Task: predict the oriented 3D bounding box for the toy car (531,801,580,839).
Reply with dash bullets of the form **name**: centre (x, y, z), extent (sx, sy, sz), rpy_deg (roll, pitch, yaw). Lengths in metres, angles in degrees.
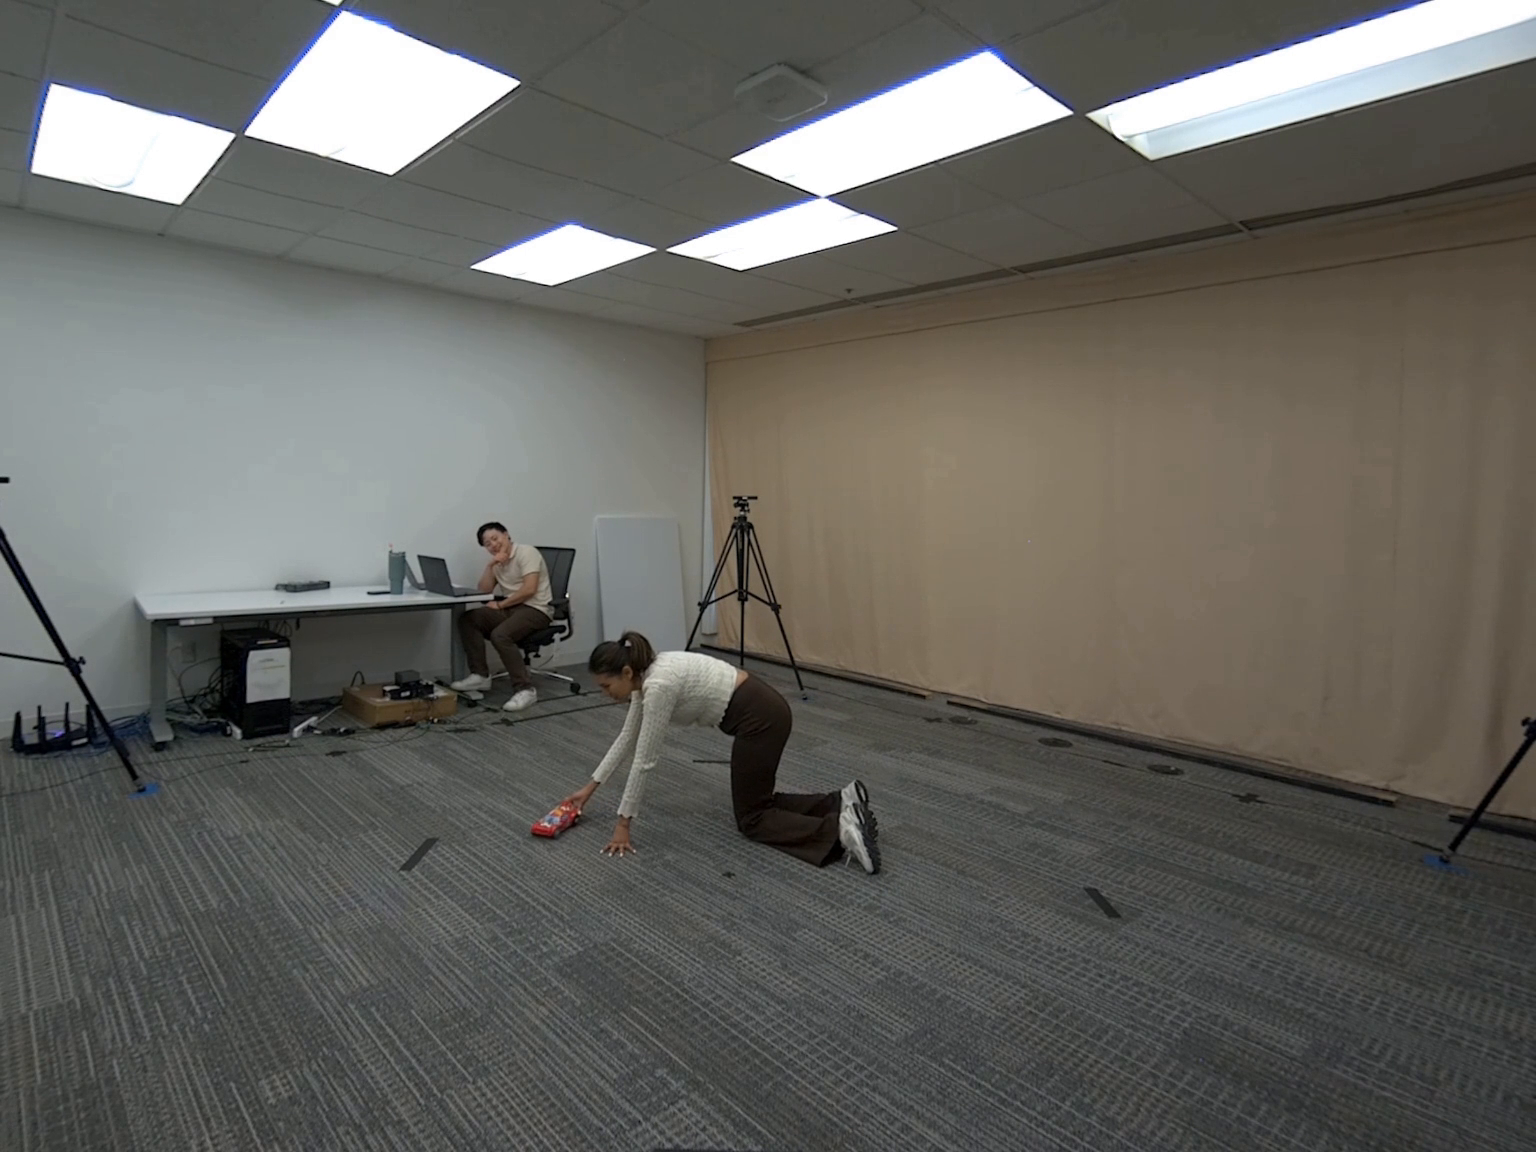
- **toy car**: centre (-0.872, 1.014, 3.500), extent (0.132, 0.082, 0.253), rpy_deg (1, 13, 20)
